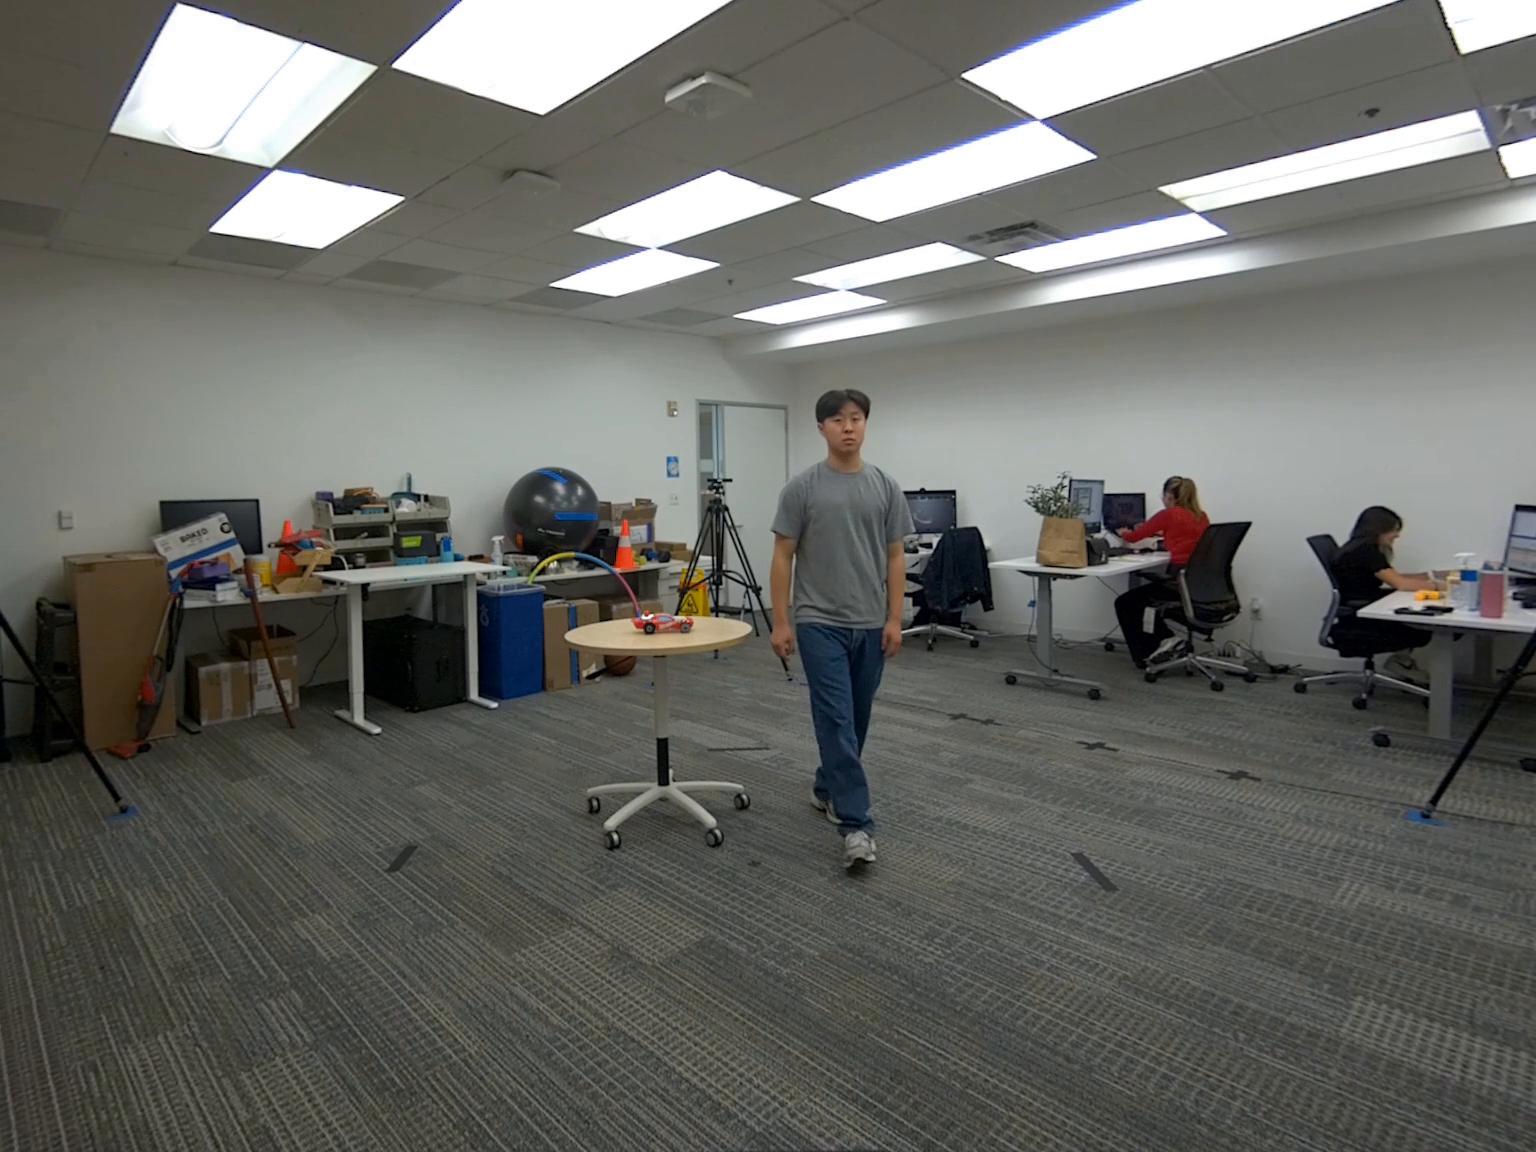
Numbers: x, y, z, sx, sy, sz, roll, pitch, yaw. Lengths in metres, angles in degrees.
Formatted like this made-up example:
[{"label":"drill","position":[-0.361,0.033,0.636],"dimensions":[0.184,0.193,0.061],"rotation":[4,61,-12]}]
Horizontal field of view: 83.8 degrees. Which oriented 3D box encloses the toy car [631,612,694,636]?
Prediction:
[{"label":"toy car","position":[-0.426,0.193,3.484],"dimensions":[0.253,0.083,0.131],"rotation":[8,4,-4]}]
